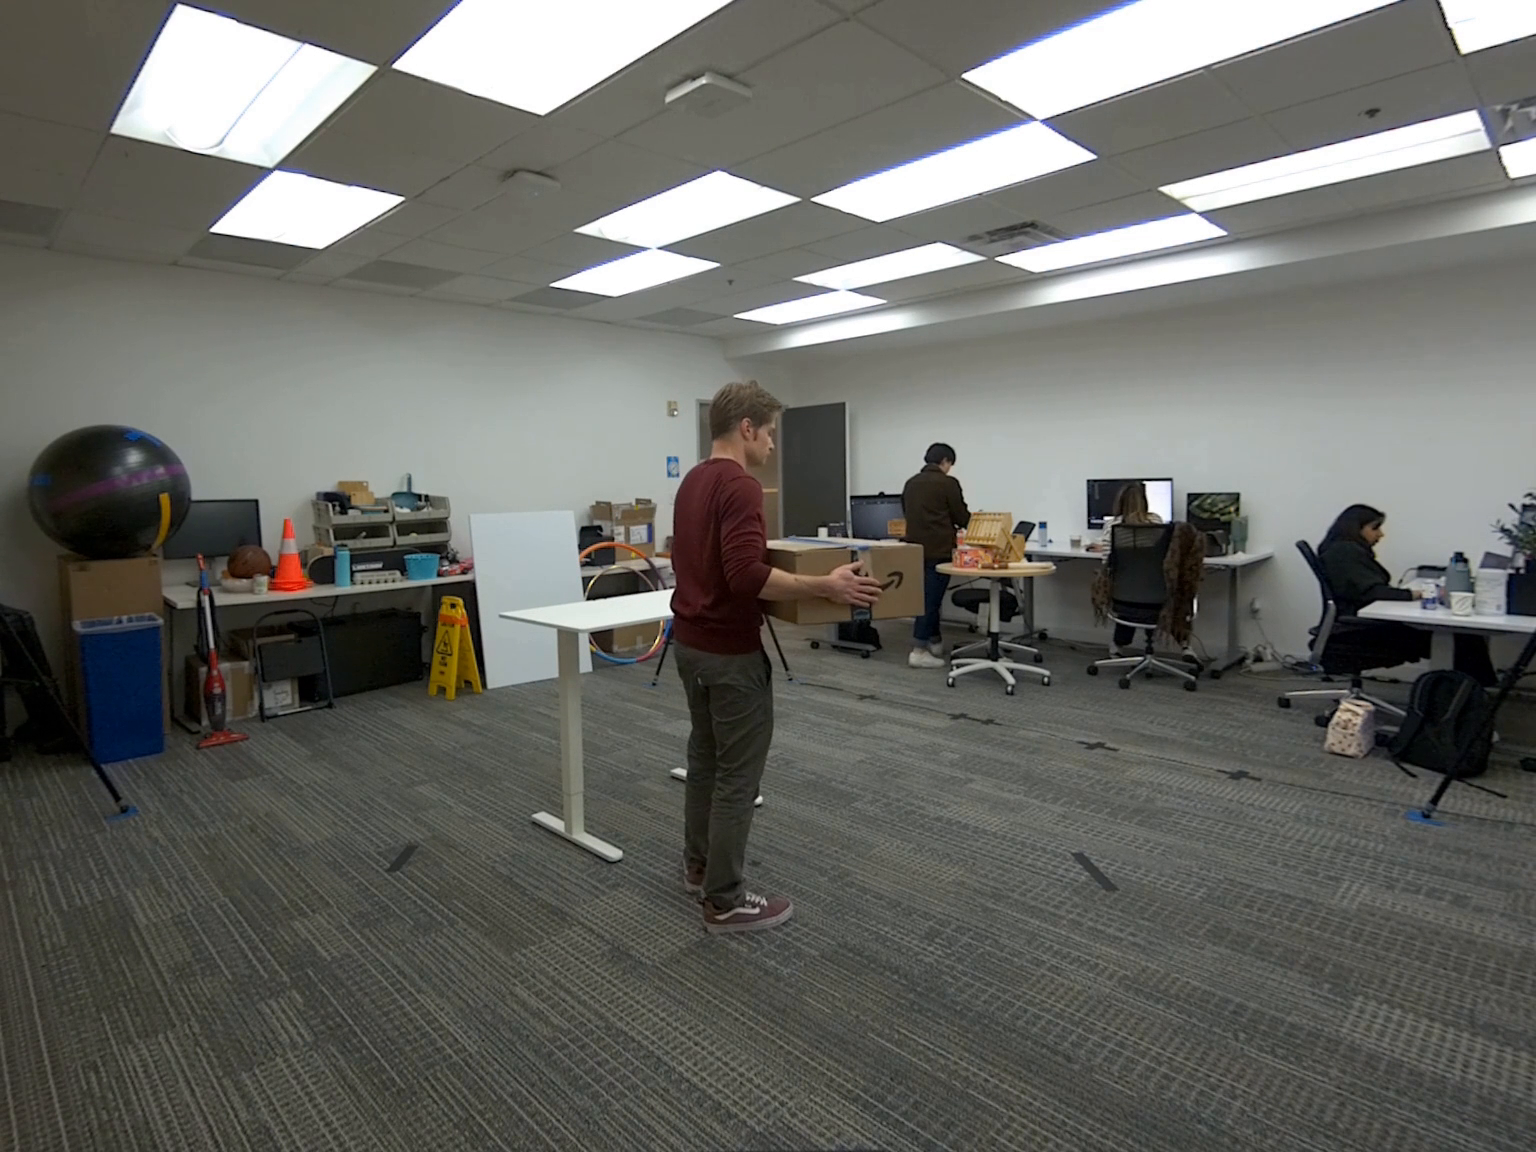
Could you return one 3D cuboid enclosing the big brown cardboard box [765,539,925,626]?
[{"bbox_3d":[0.167,0.004,2.774,0.410,0.232,0.602,-3,6,-21],"label":"big brown cardboard box"}]
